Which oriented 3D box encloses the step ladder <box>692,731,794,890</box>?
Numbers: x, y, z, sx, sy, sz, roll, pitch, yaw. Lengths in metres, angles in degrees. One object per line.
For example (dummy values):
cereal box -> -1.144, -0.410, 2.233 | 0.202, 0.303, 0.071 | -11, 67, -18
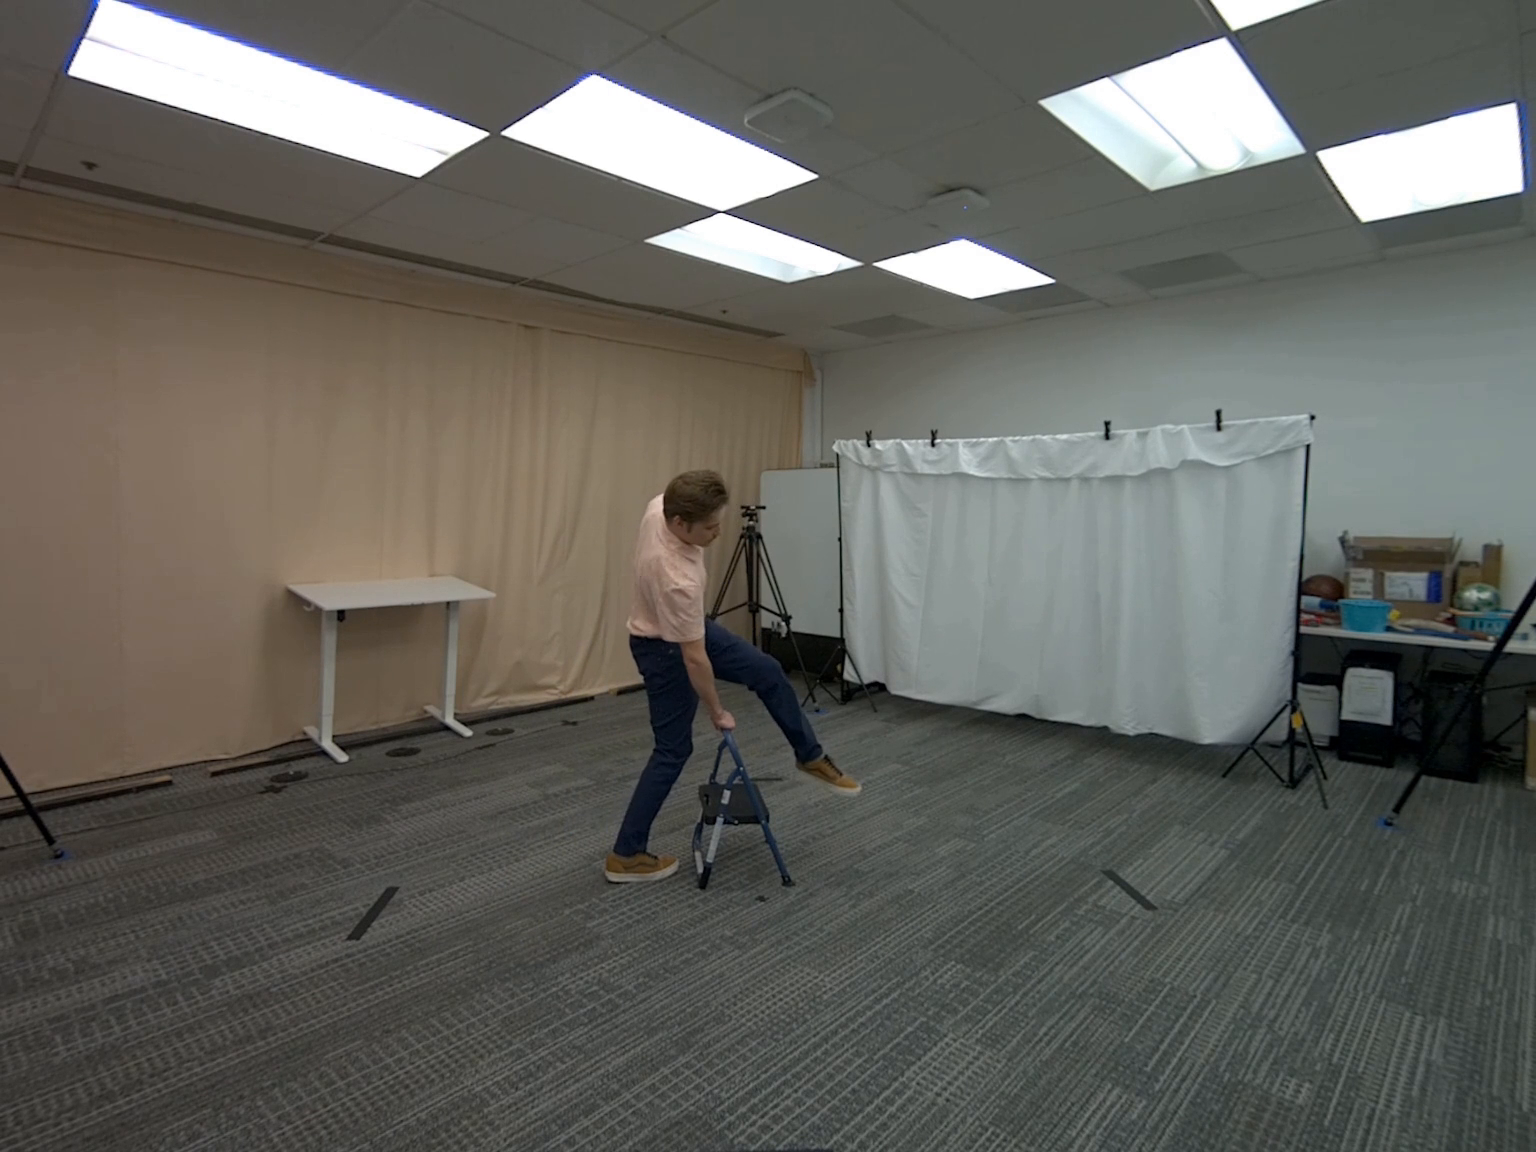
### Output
step ladder -> -0.111, 0.820, 3.260 | 0.346, 0.605, 0.435 | -1, 3, -9
